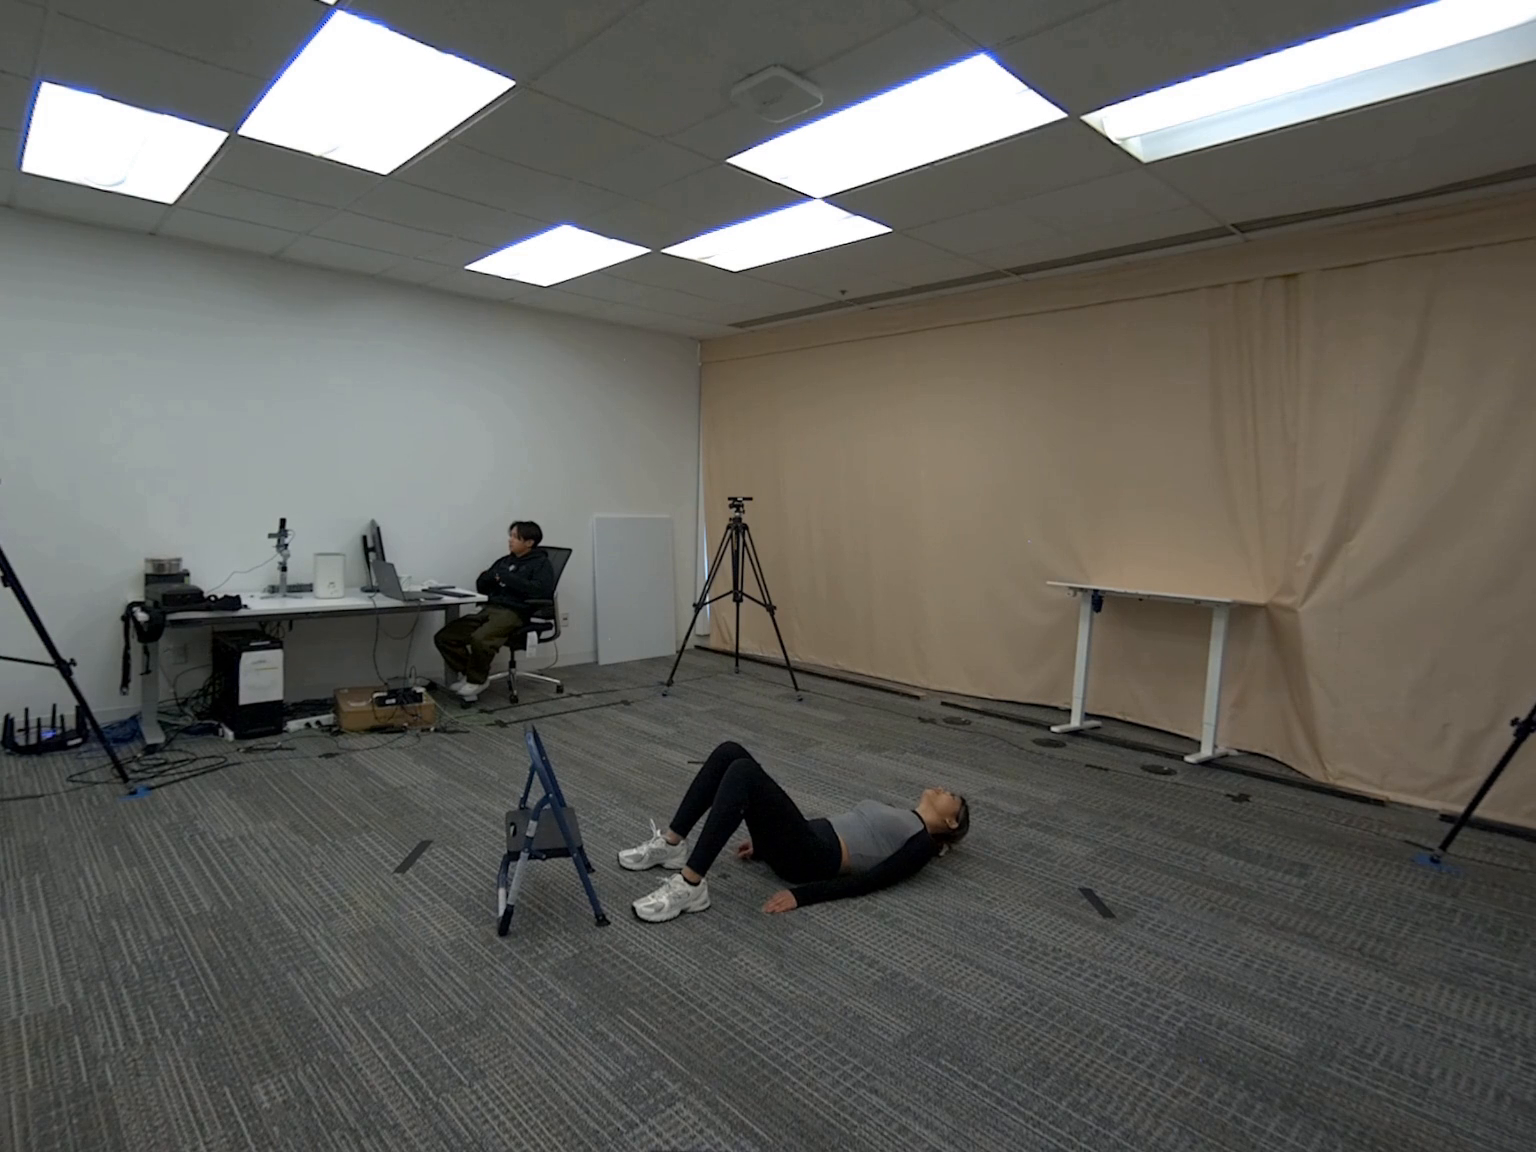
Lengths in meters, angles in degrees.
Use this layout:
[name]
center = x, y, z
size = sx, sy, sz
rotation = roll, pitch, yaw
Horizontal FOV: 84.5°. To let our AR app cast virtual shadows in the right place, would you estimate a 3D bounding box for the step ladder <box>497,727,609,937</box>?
[step ladder]
center = -0.743, 0.815, 2.861
size = 0.344, 0.604, 0.438
rotation = 0, 4, -18
